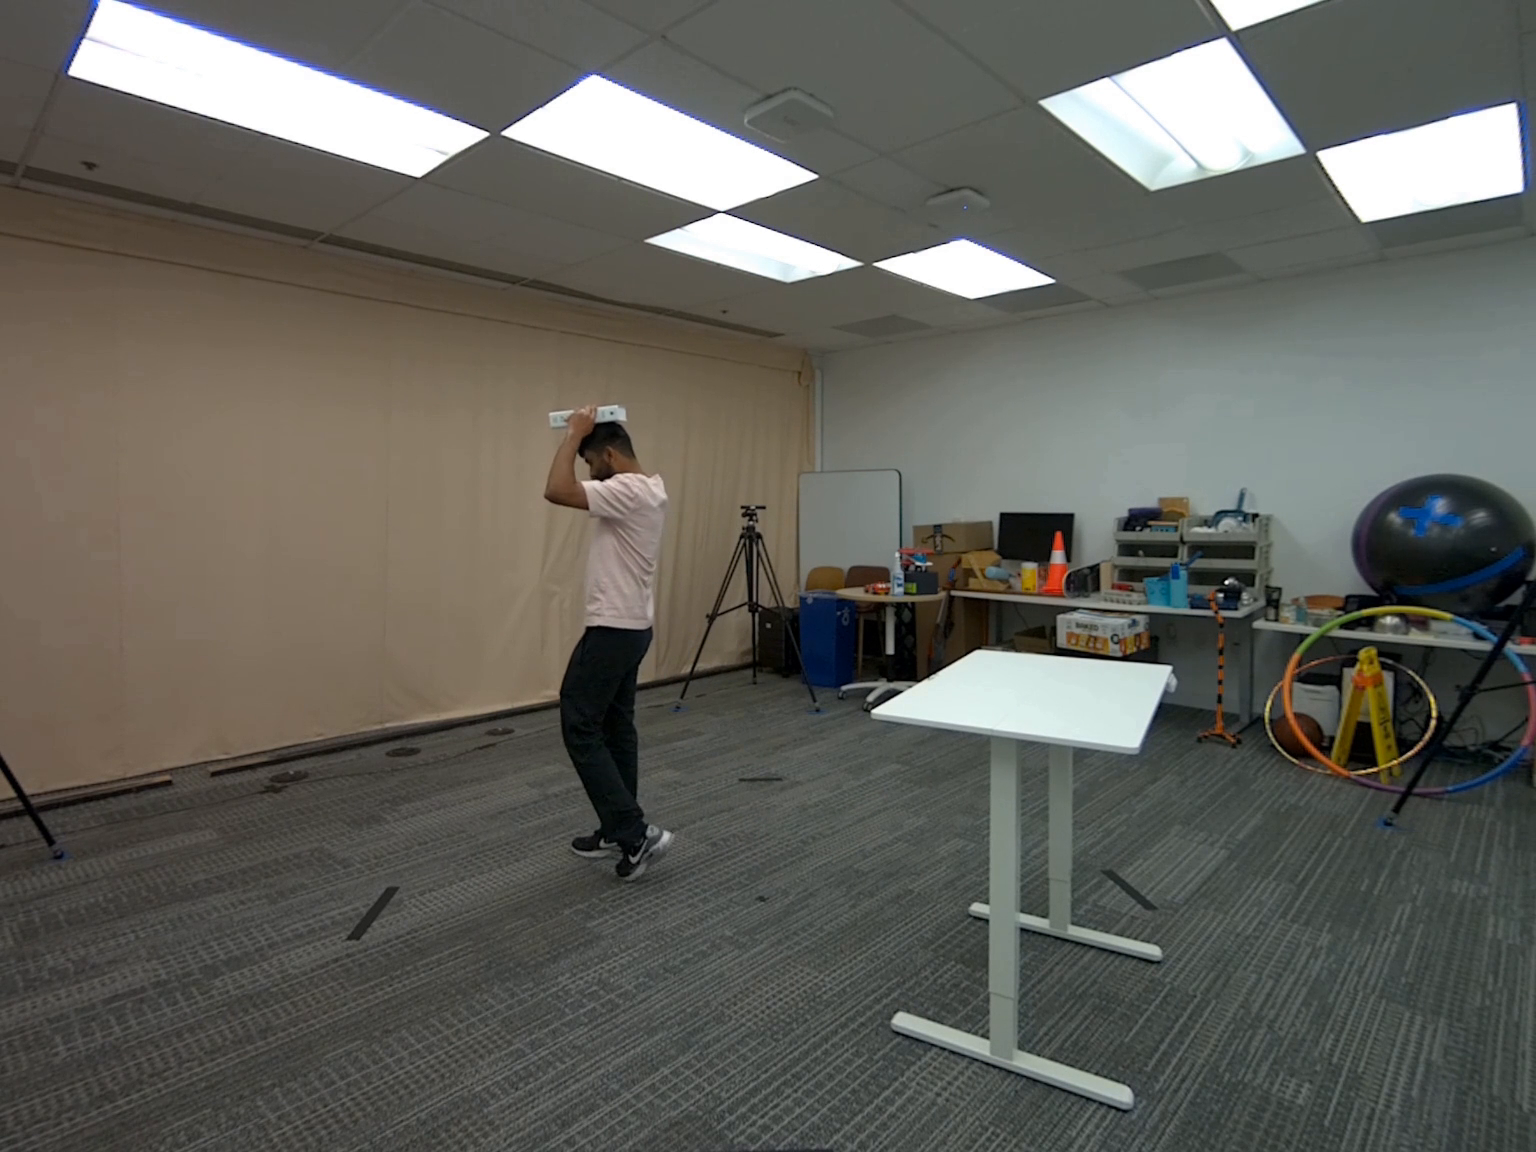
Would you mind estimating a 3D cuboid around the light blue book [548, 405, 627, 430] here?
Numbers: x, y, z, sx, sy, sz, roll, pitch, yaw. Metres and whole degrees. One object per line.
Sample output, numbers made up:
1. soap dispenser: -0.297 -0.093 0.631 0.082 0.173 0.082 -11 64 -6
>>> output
1. light blue book: -0.684 -0.604 3.221 0.262 0.059 0.192 -6 8 2
